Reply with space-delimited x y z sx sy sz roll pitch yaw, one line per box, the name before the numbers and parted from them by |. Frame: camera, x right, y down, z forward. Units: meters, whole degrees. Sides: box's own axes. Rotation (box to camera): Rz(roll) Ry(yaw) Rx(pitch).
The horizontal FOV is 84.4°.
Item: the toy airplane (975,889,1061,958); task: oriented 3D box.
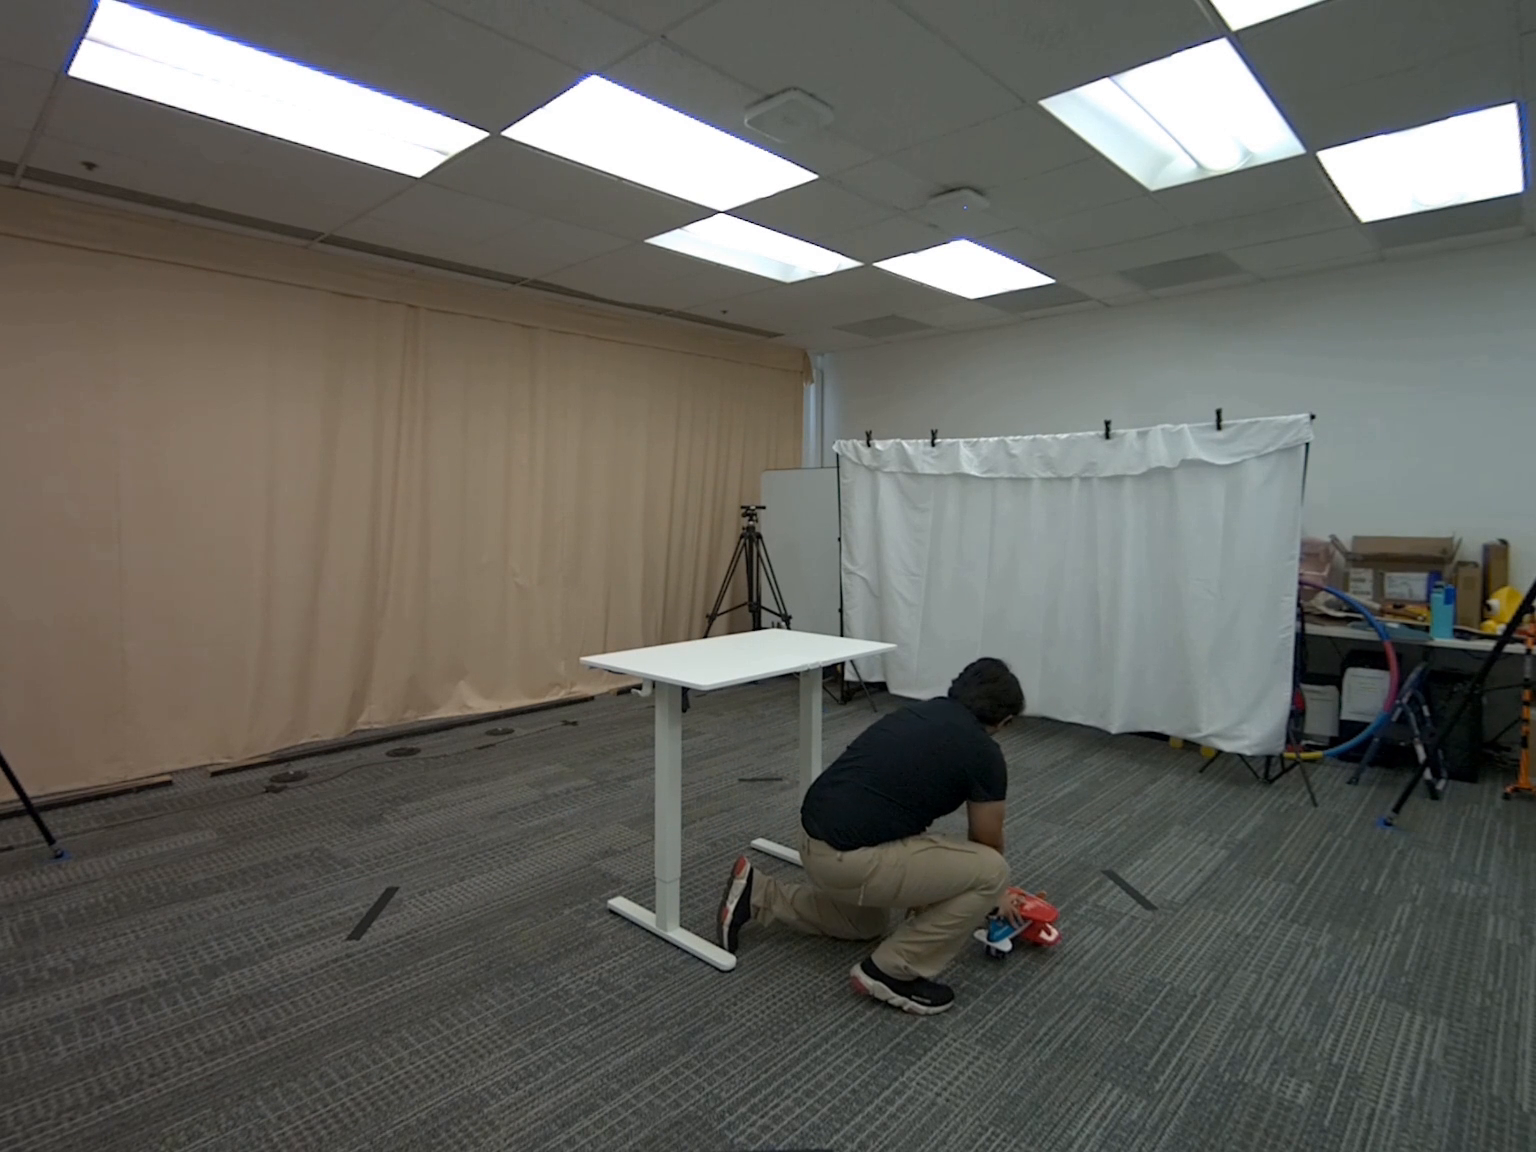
toy airplane | 0.792 1.101 2.628 0.256 0.156 0.254 1 3 19
